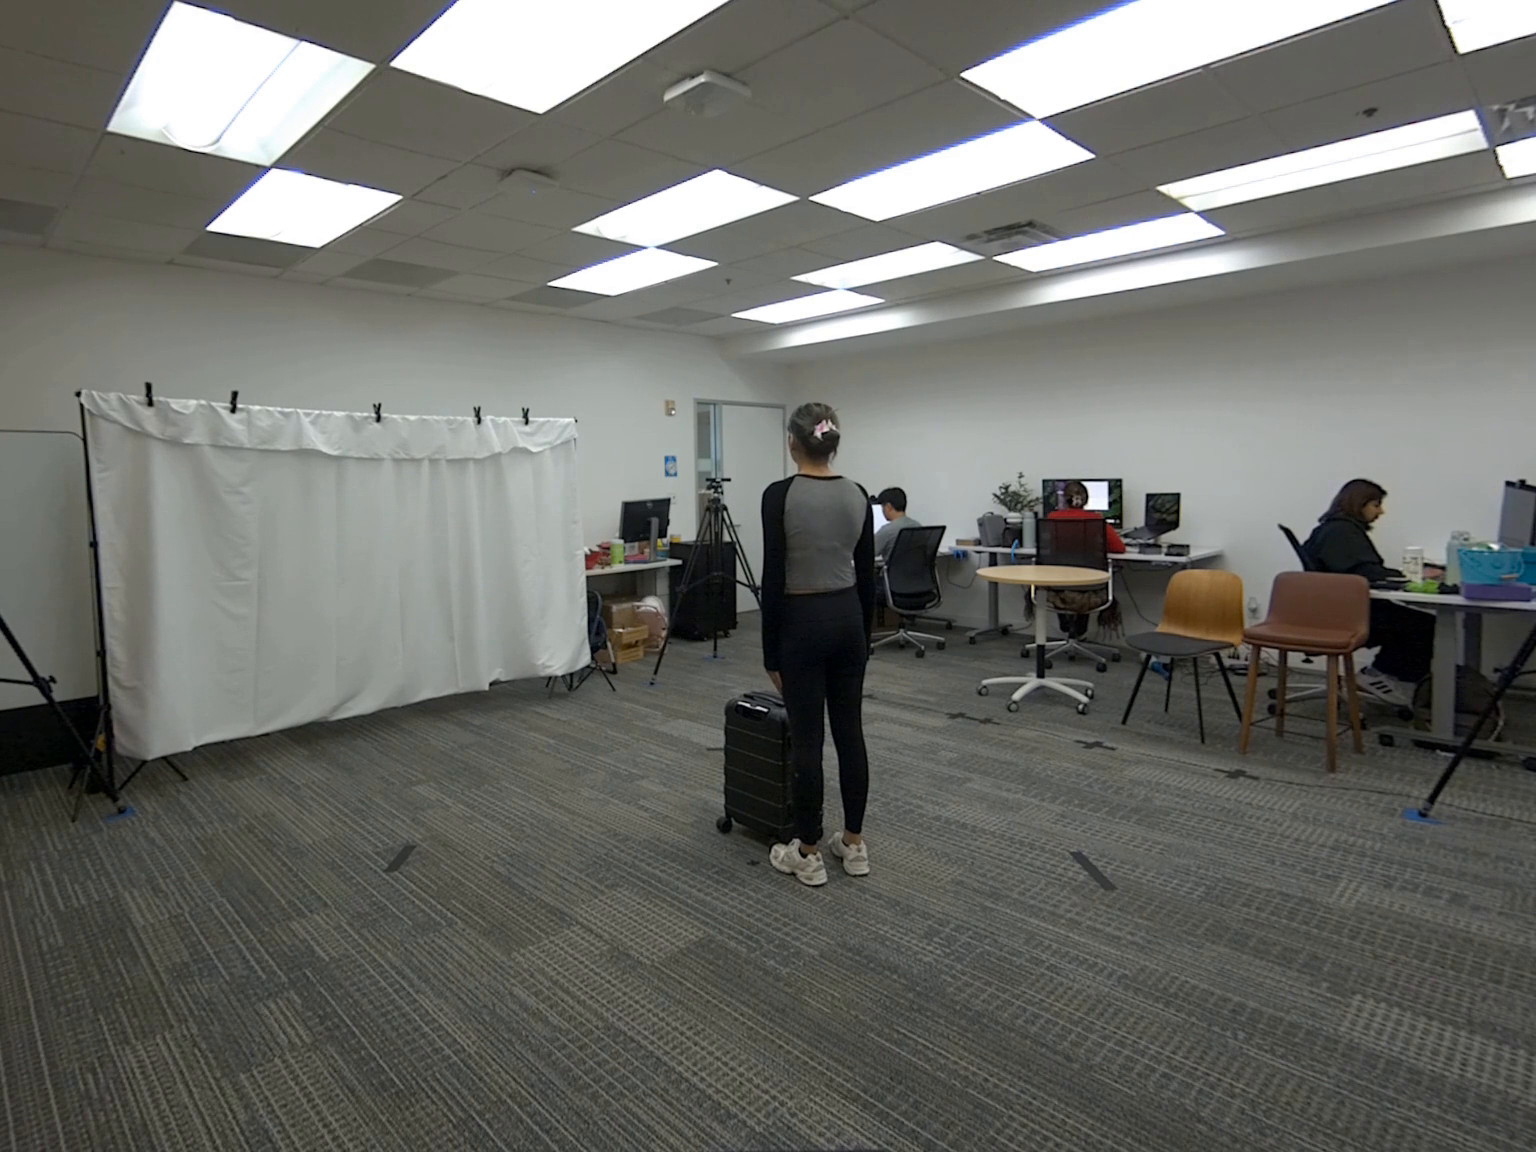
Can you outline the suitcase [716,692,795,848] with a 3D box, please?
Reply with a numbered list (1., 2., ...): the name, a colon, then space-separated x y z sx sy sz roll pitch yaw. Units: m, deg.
1. suitcase: 0.015 0.737 3.351 0.241 0.548 0.387 -2 4 -44
